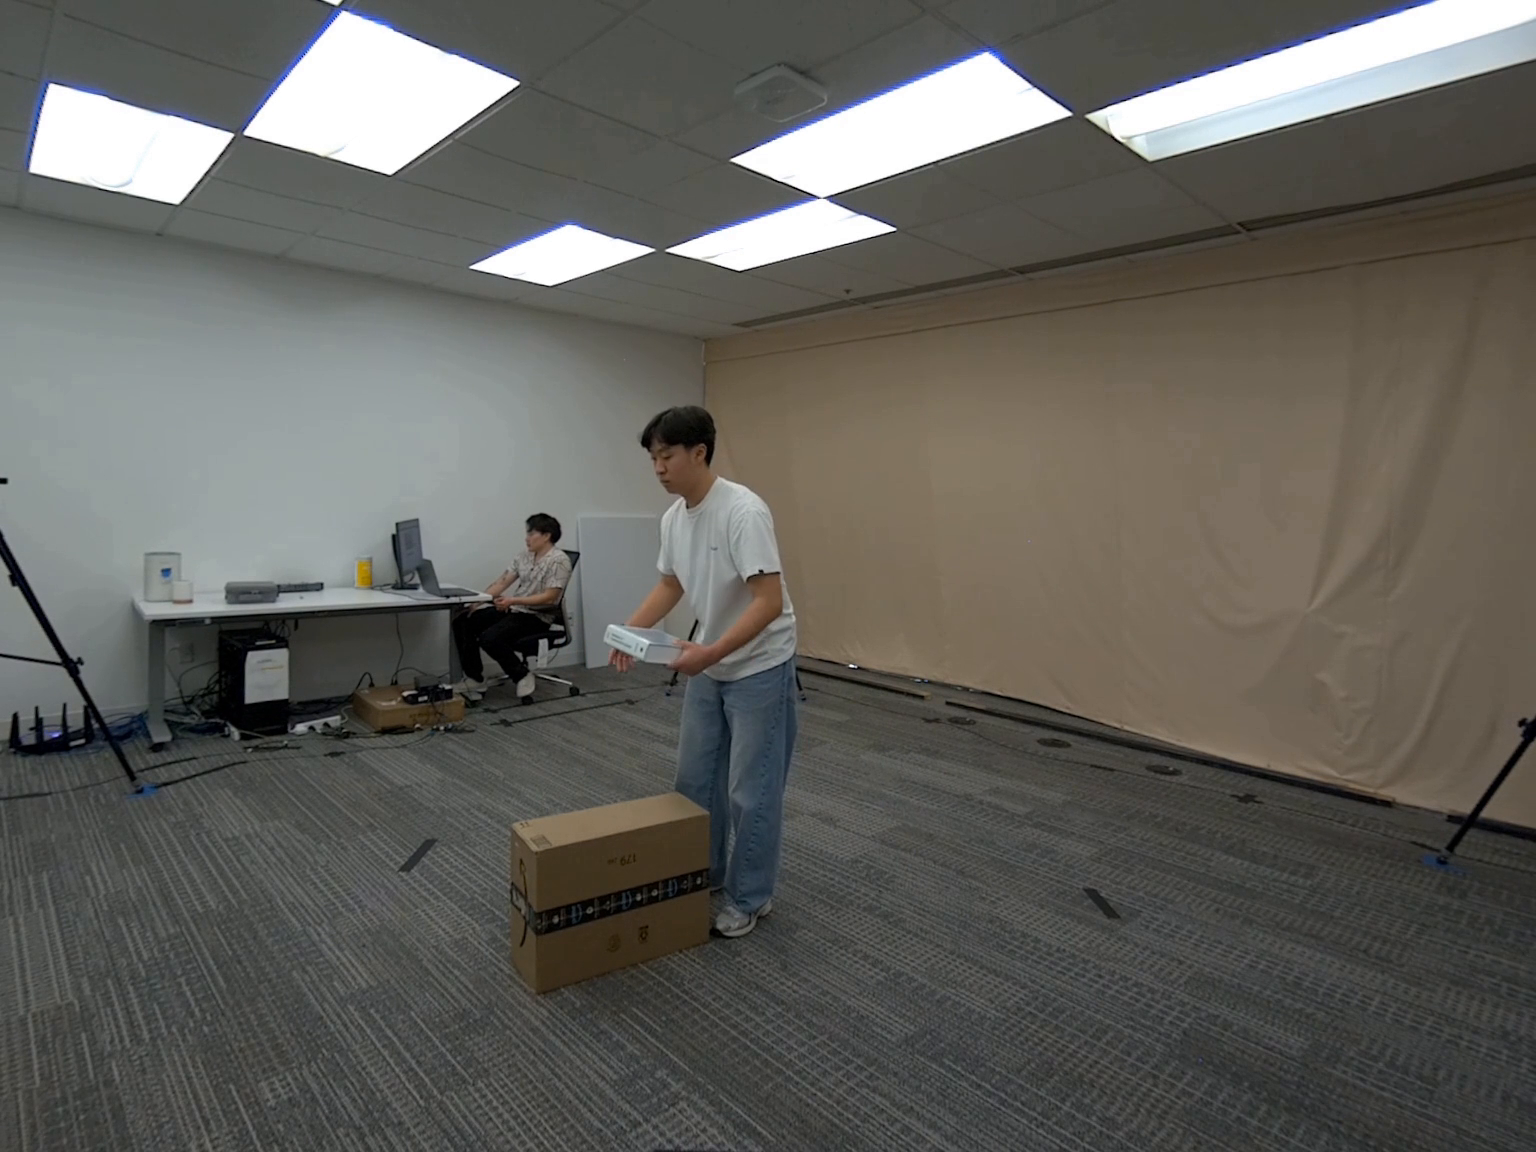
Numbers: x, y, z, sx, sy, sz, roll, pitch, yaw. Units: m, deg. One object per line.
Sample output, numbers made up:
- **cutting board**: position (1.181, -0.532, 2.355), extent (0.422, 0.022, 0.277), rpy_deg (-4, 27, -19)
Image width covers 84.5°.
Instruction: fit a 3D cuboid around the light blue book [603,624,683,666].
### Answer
- **light blue book**: position (-0.354, 0.229, 2.542), extent (0.186, 0.059, 0.268), rpy_deg (9, 3, -34)
